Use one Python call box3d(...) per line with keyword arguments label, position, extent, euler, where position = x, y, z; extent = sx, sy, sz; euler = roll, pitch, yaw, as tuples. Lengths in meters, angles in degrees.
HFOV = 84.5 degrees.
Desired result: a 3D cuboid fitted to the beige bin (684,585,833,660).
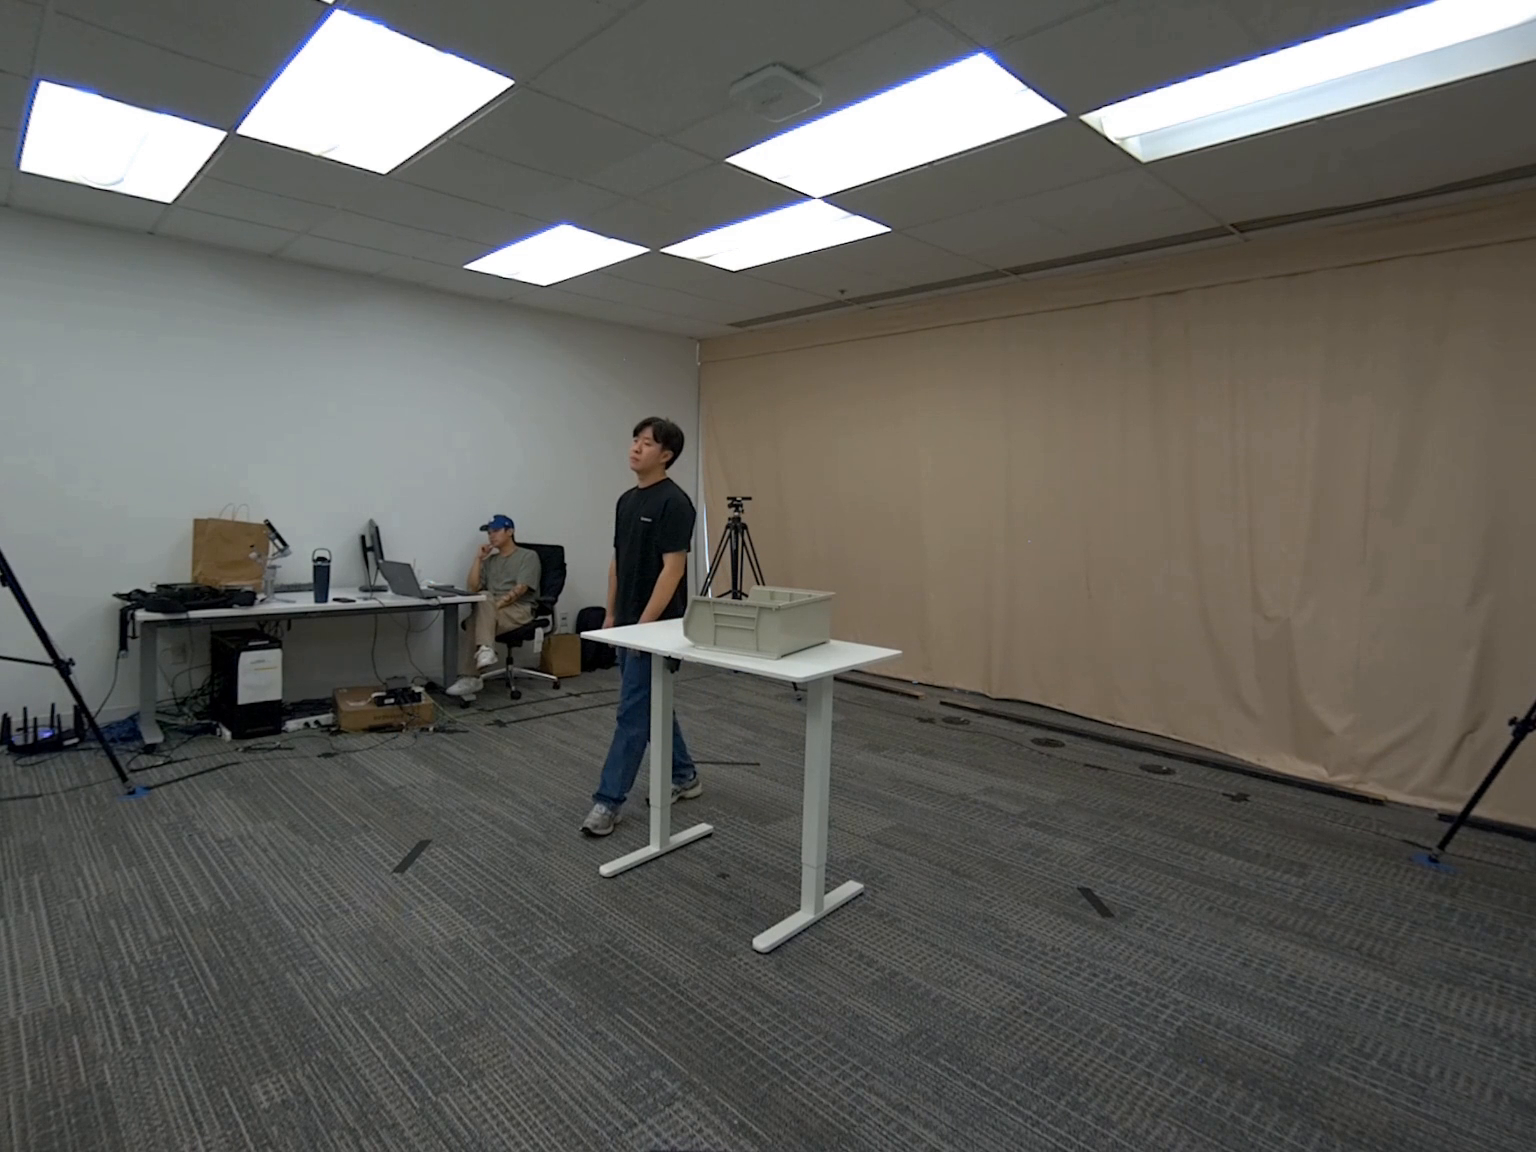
box3d(label="beige bin", position=(-0.027, 0.157, 2.932), extent=(0.386, 0.188, 0.414), euler=(6, 6, 30))
